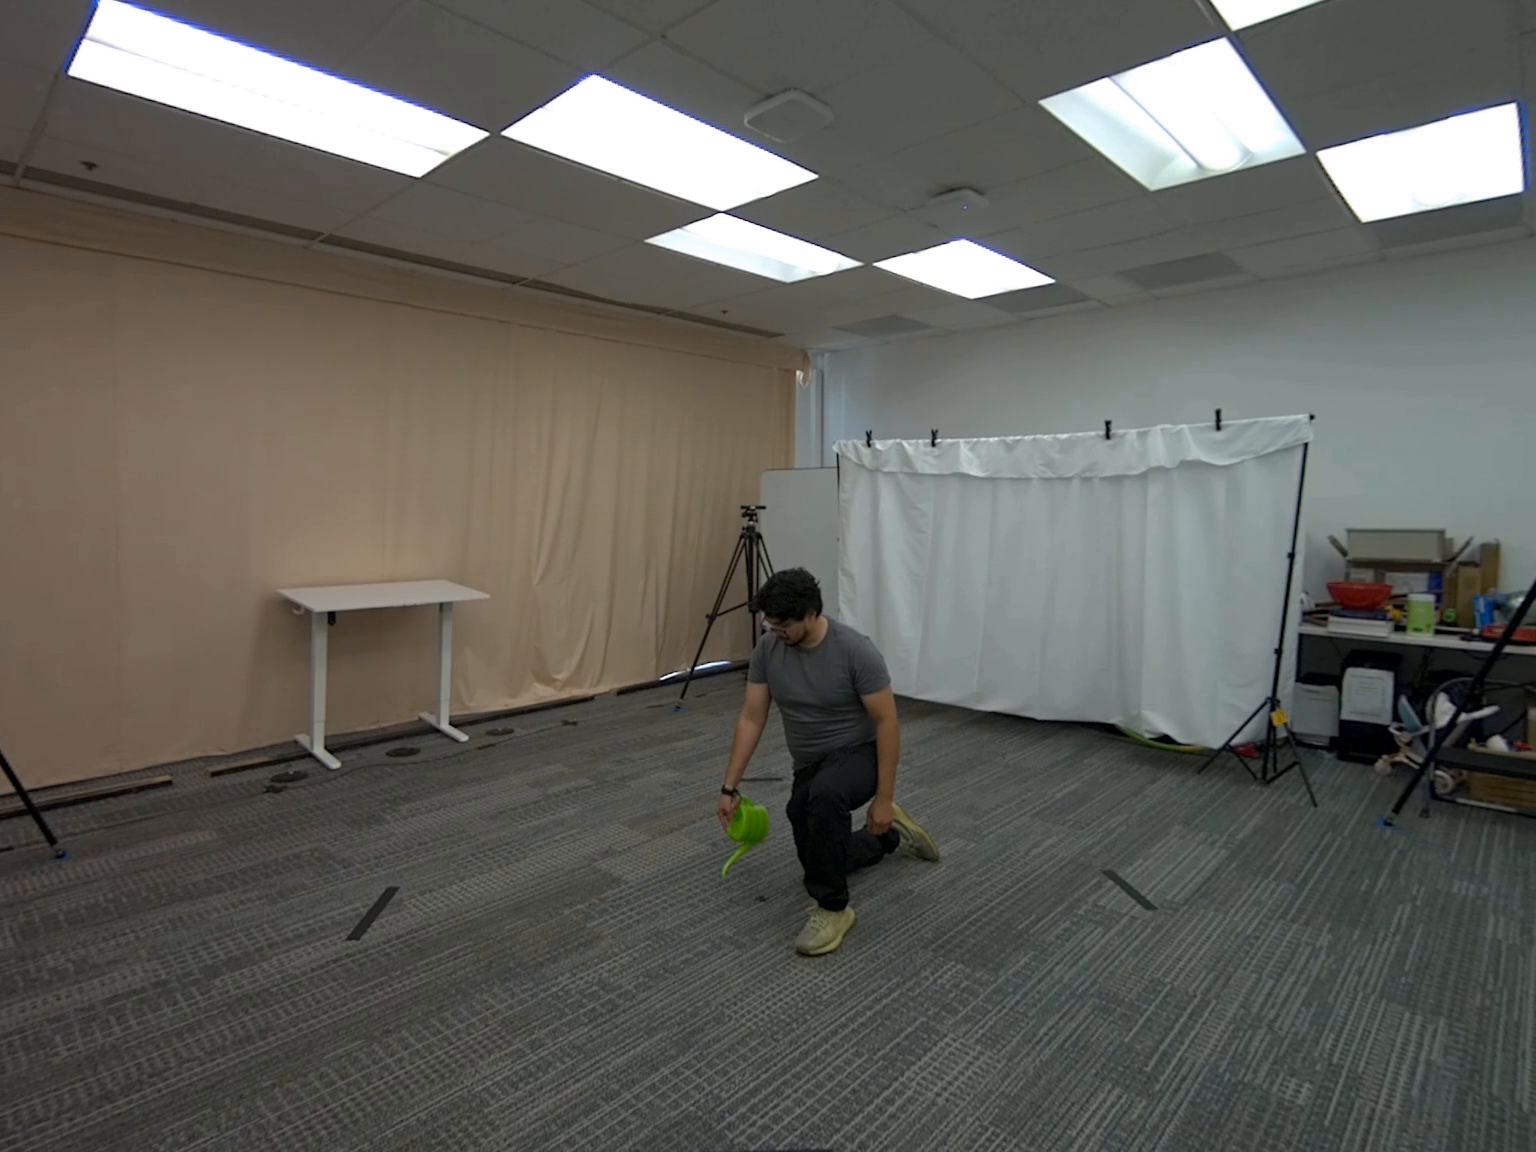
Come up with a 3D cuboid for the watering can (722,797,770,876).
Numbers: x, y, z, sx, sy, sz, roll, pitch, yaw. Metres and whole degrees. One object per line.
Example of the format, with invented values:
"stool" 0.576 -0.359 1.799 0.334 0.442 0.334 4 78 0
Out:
"watering can" -0.093 0.948 3.063 0.101 0.279 0.170 10 -7 46
